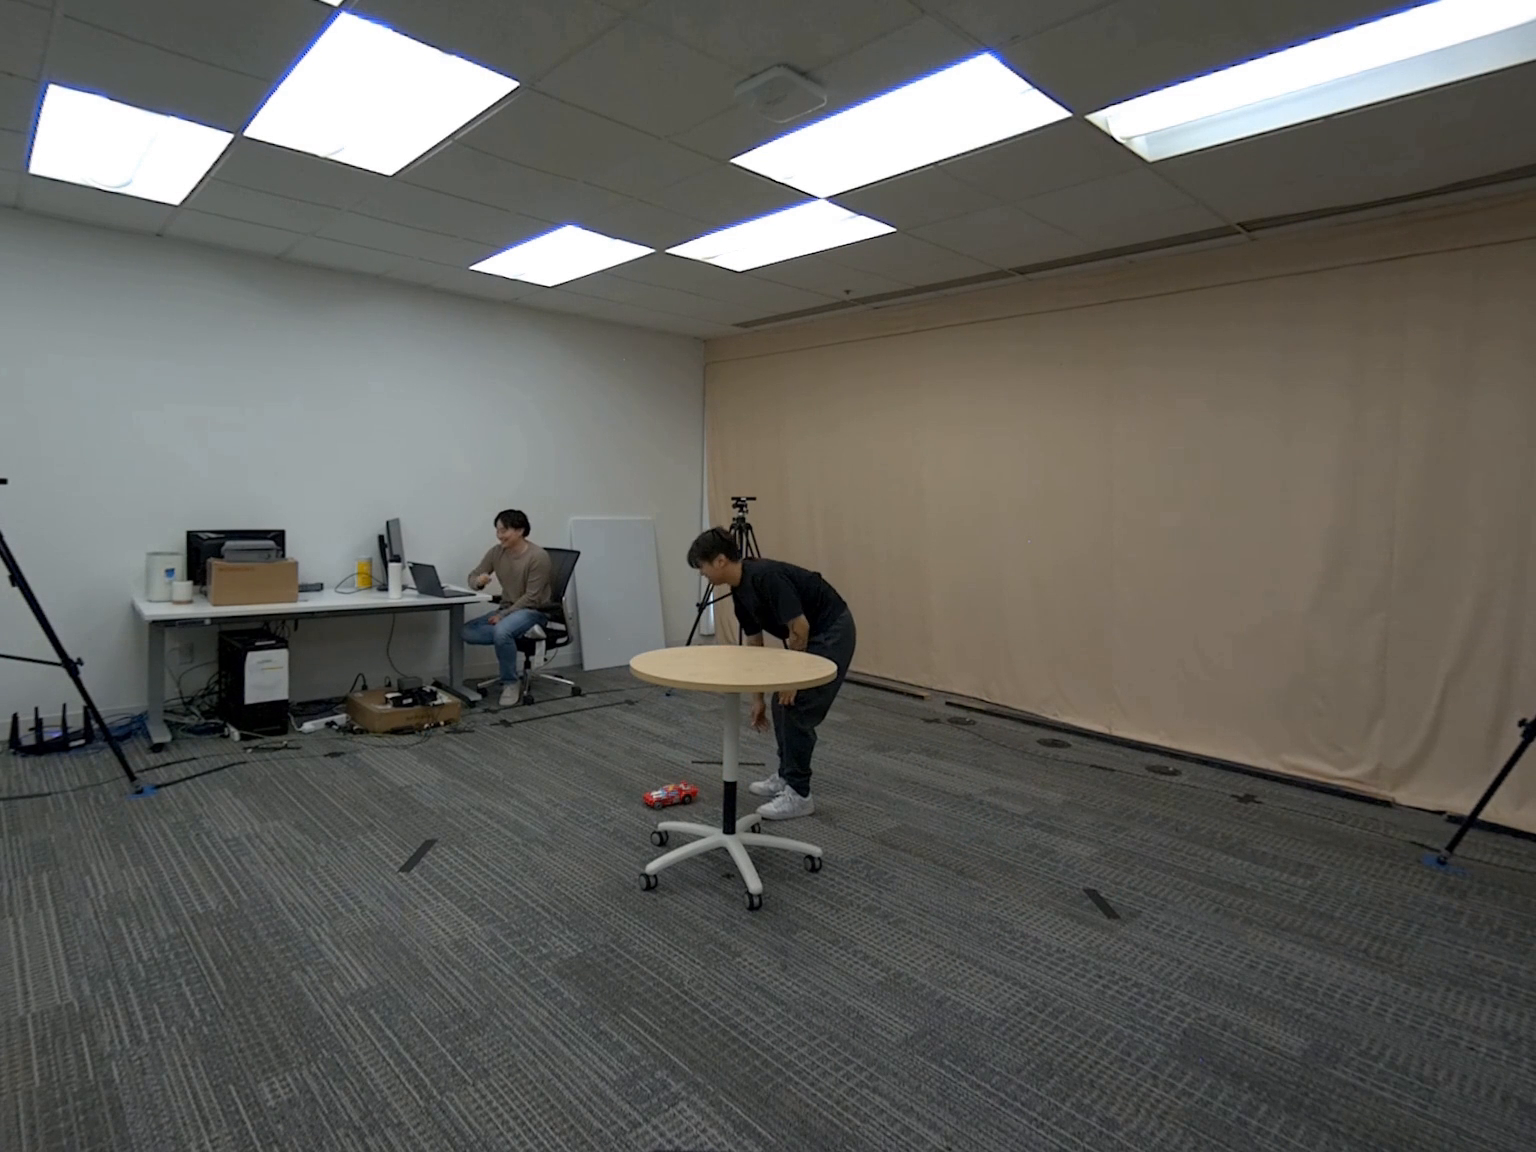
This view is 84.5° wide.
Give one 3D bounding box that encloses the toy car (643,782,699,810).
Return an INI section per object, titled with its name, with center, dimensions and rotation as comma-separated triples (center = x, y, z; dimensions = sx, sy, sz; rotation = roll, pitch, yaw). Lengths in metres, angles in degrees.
[toy car]
center = -0.454, 1.006, 3.848
dimensions = 0.251, 0.082, 0.133
rotation = -14, 10, -29
